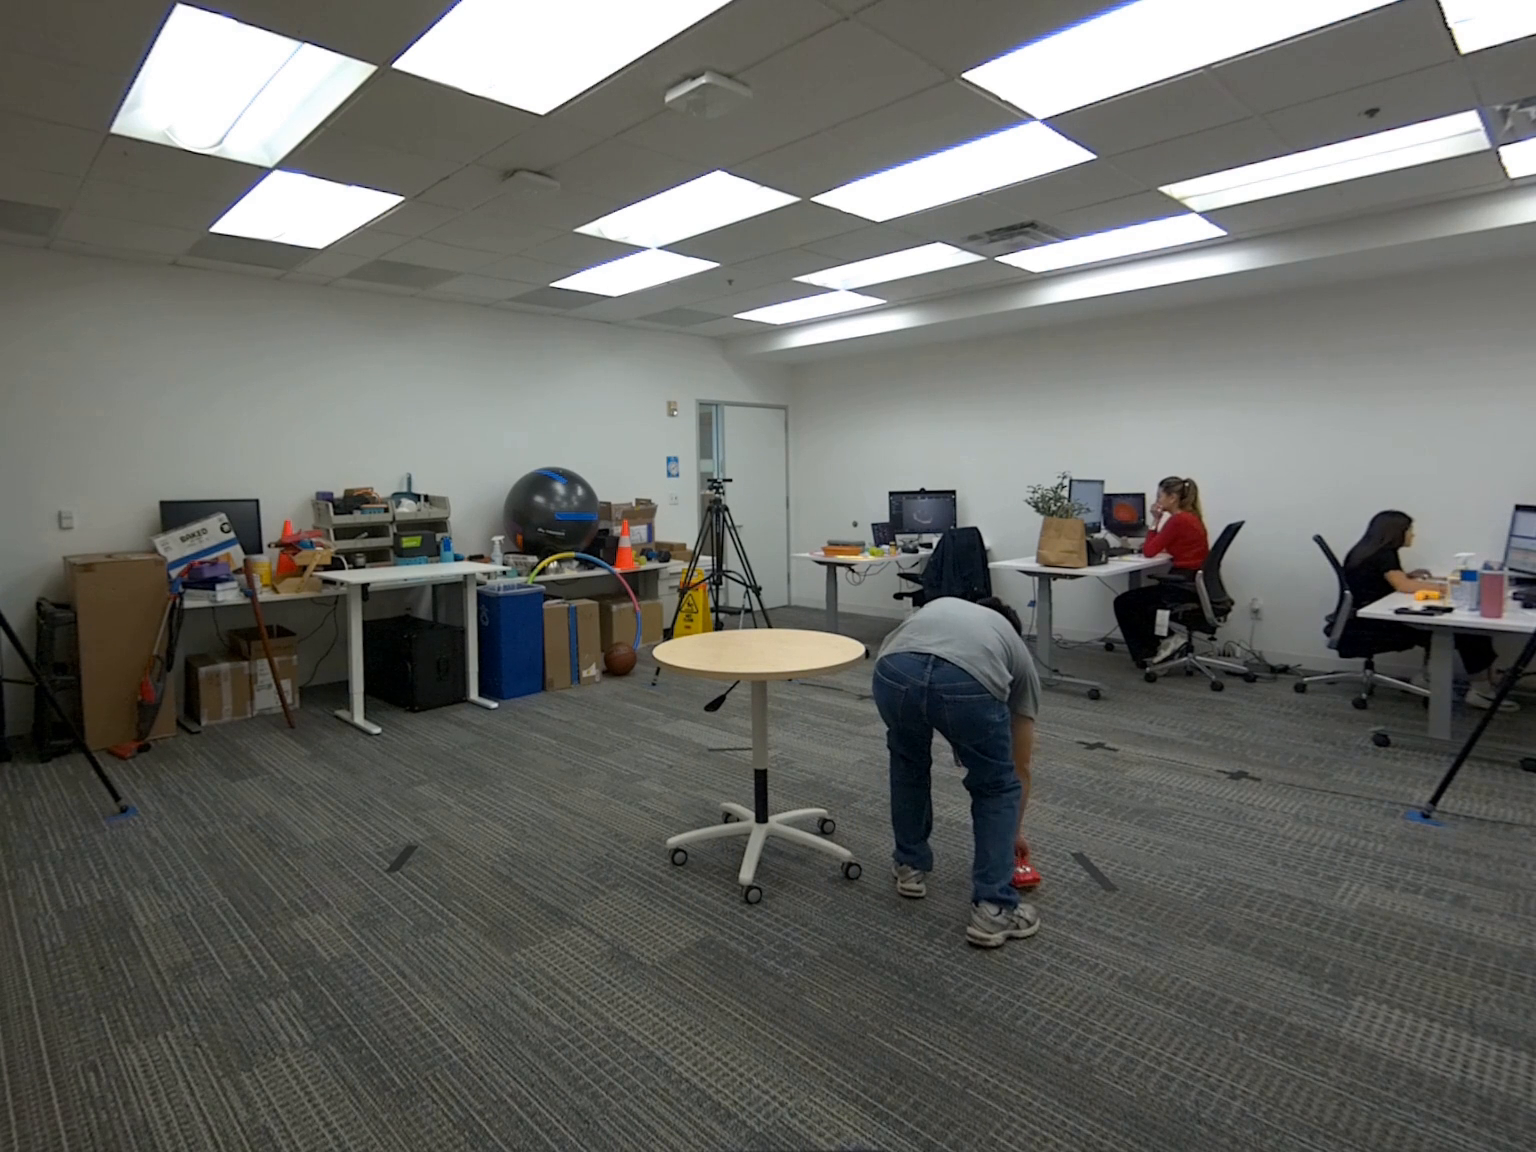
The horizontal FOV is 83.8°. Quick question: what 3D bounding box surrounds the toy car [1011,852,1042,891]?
[{"bbox_3d":[0.839,1.011,2.952,0.129,0.084,0.255,-1,-6,-12],"label":"toy car"}]
